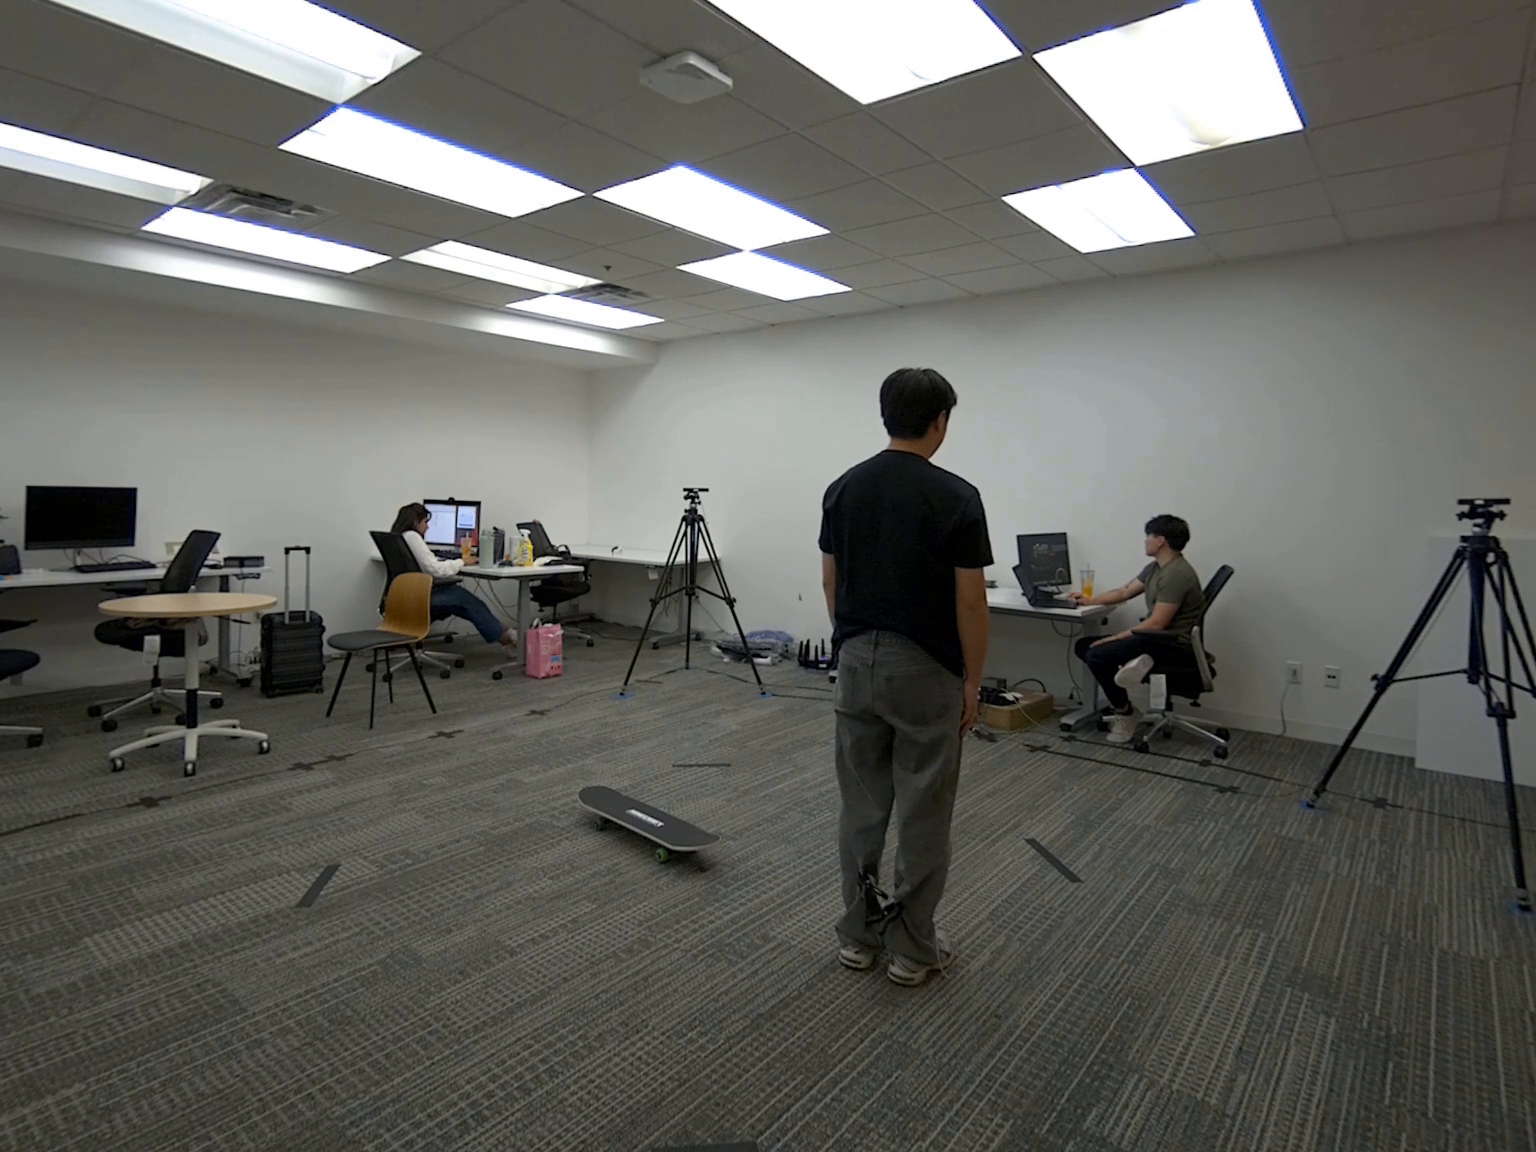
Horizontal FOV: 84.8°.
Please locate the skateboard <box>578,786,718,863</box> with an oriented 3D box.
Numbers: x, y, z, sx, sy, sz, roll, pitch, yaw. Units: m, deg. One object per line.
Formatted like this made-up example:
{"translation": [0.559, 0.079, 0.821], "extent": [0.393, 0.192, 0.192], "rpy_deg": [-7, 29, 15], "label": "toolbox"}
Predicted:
{"translation": [-0.500, 0.982, 3.357], "extent": [0.813, 0.110, 0.188], "rpy_deg": [6, 8, 44], "label": "skateboard"}
